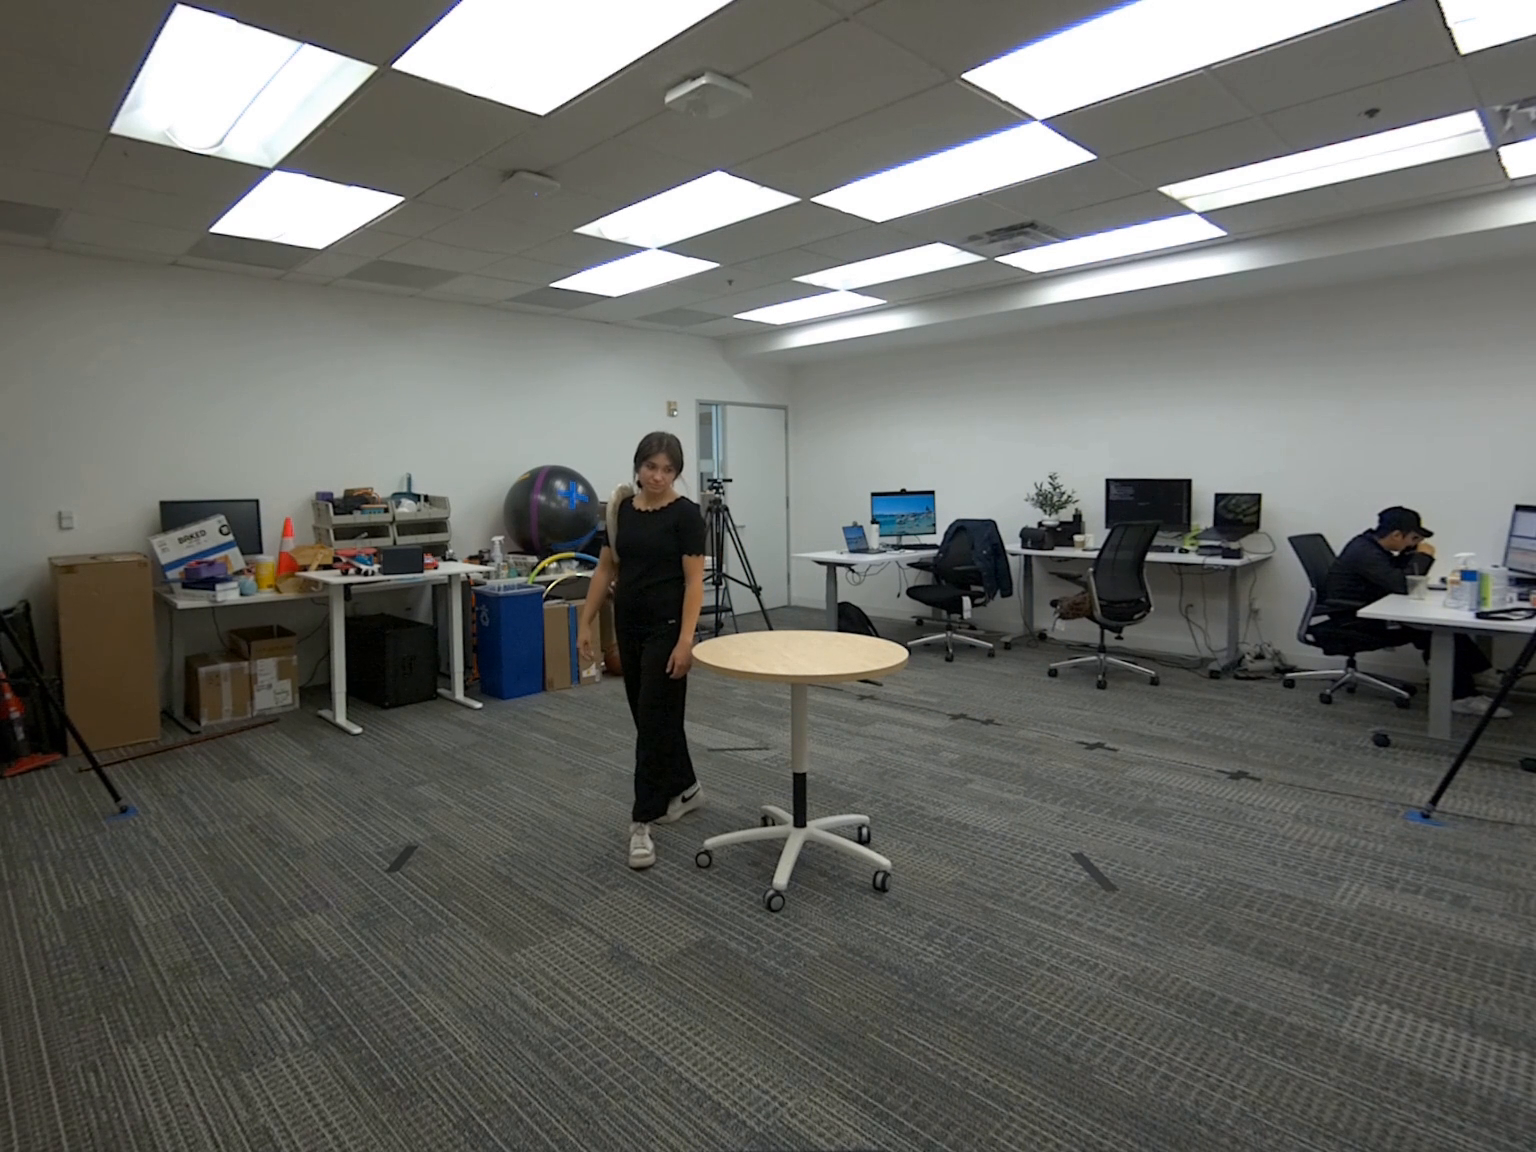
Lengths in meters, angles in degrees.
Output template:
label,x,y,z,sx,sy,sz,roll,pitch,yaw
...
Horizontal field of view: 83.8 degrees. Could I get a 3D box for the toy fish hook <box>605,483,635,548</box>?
label,x,y,z,sx,sy,sz,roll,pitch,yaw
toy fish hook,-0.573,-0.127,3.455,0.049,0.500,0.222,7,15,24
